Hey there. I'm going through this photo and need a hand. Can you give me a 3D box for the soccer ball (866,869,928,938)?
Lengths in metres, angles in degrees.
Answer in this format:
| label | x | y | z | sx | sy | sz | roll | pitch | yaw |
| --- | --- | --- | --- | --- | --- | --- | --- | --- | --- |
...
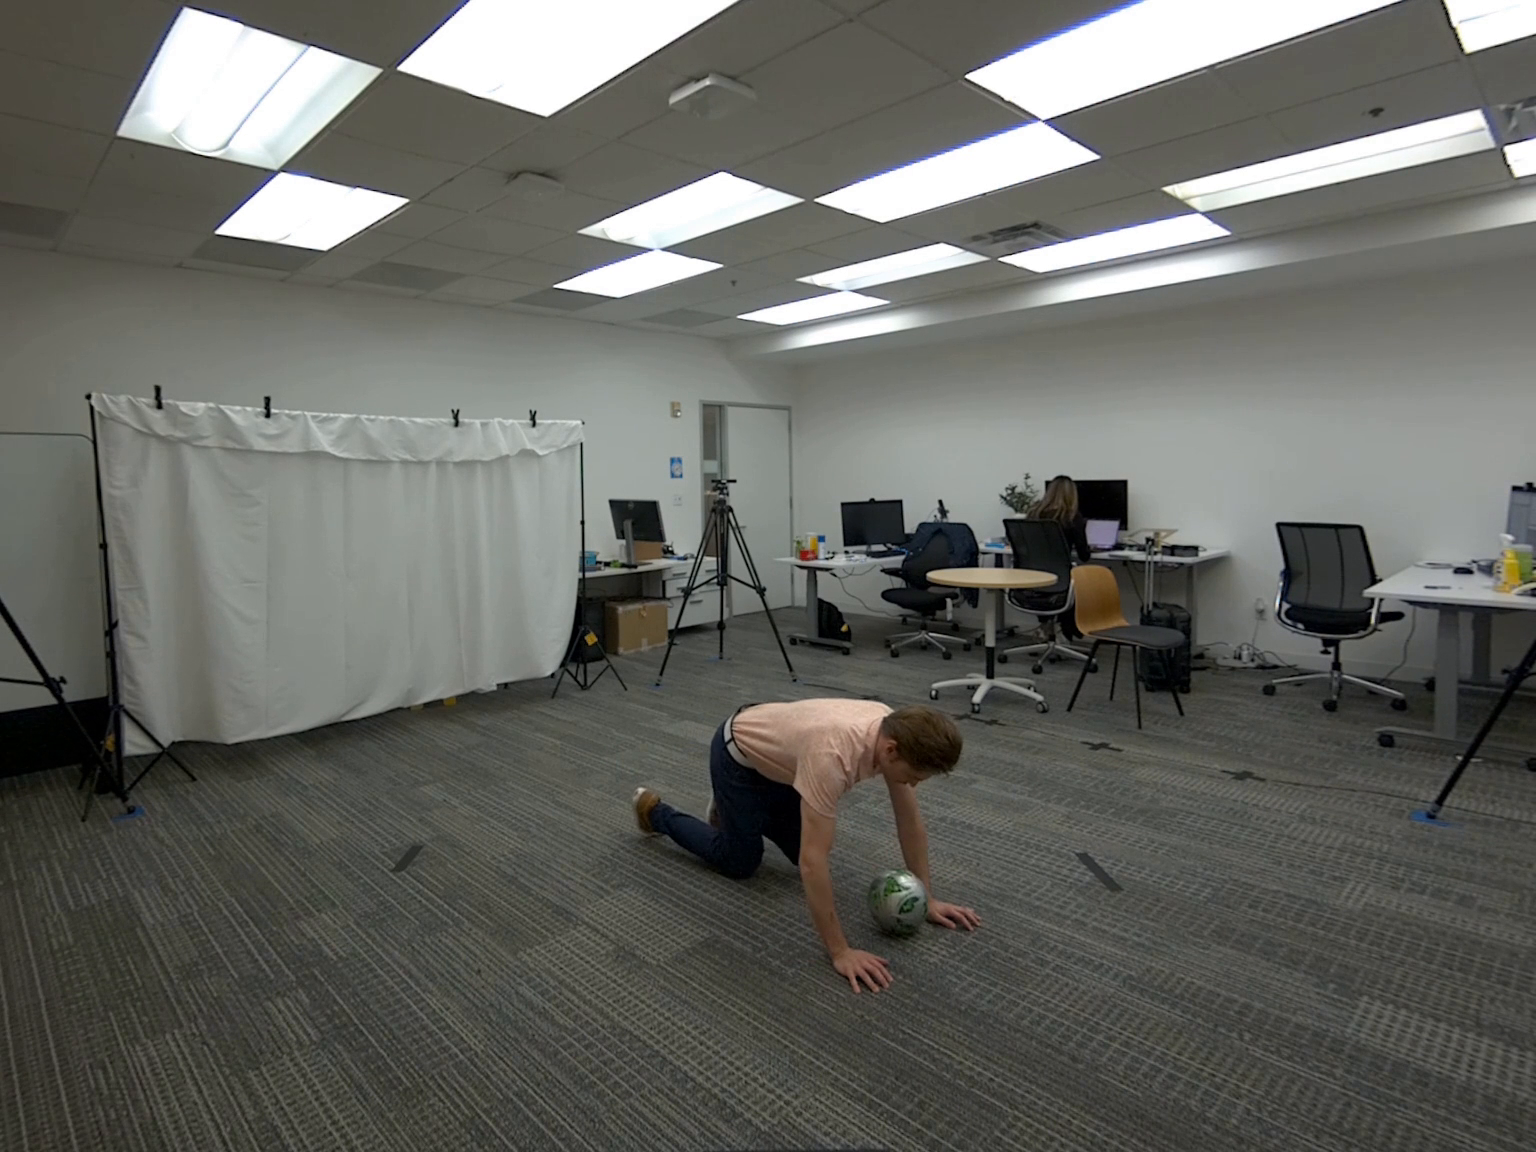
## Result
| label | x | y | z | sx | sy | sz | roll | pitch | yaw |
| --- | --- | --- | --- | --- | --- | --- | --- | --- | --- |
| soccer ball | 0.407 | 1.007 | 2.629 | 0.187 | 0.187 | 0.188 | -1 | 5 | -2 |
